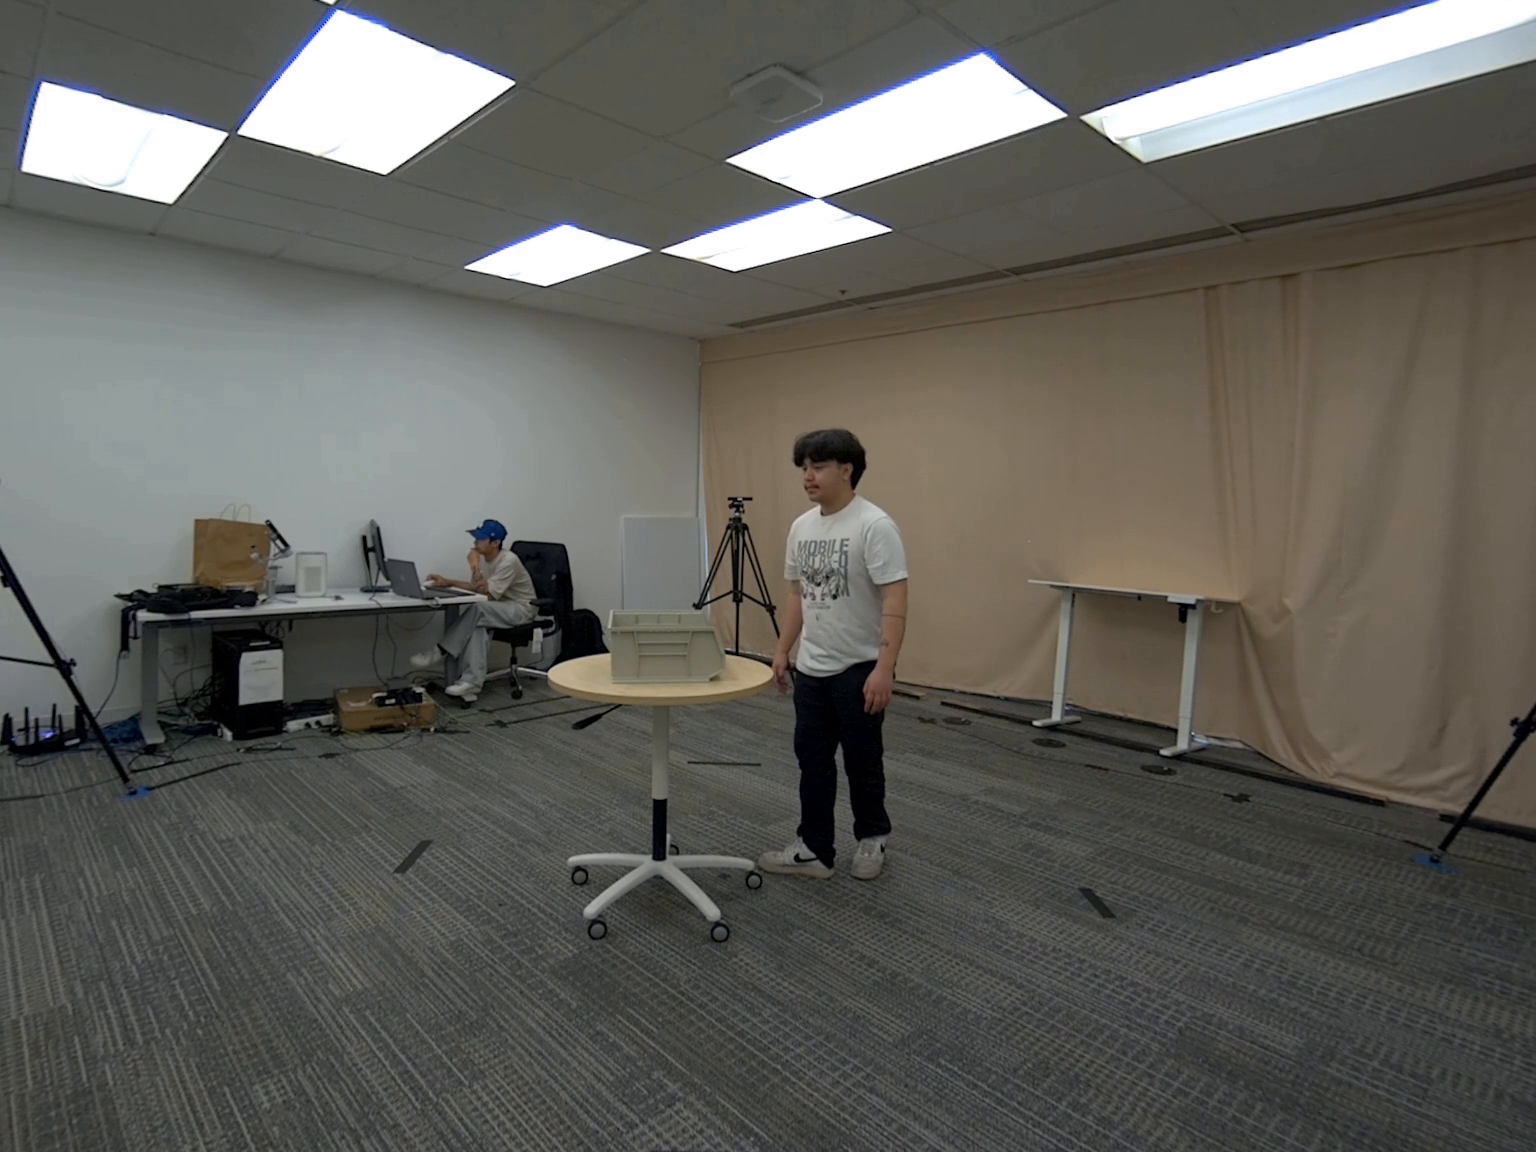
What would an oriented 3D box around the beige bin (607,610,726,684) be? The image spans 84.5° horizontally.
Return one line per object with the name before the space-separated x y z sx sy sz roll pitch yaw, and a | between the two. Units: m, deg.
beige bin | -0.354 0.236 2.889 0.375 0.188 0.426 -1 5 -9
